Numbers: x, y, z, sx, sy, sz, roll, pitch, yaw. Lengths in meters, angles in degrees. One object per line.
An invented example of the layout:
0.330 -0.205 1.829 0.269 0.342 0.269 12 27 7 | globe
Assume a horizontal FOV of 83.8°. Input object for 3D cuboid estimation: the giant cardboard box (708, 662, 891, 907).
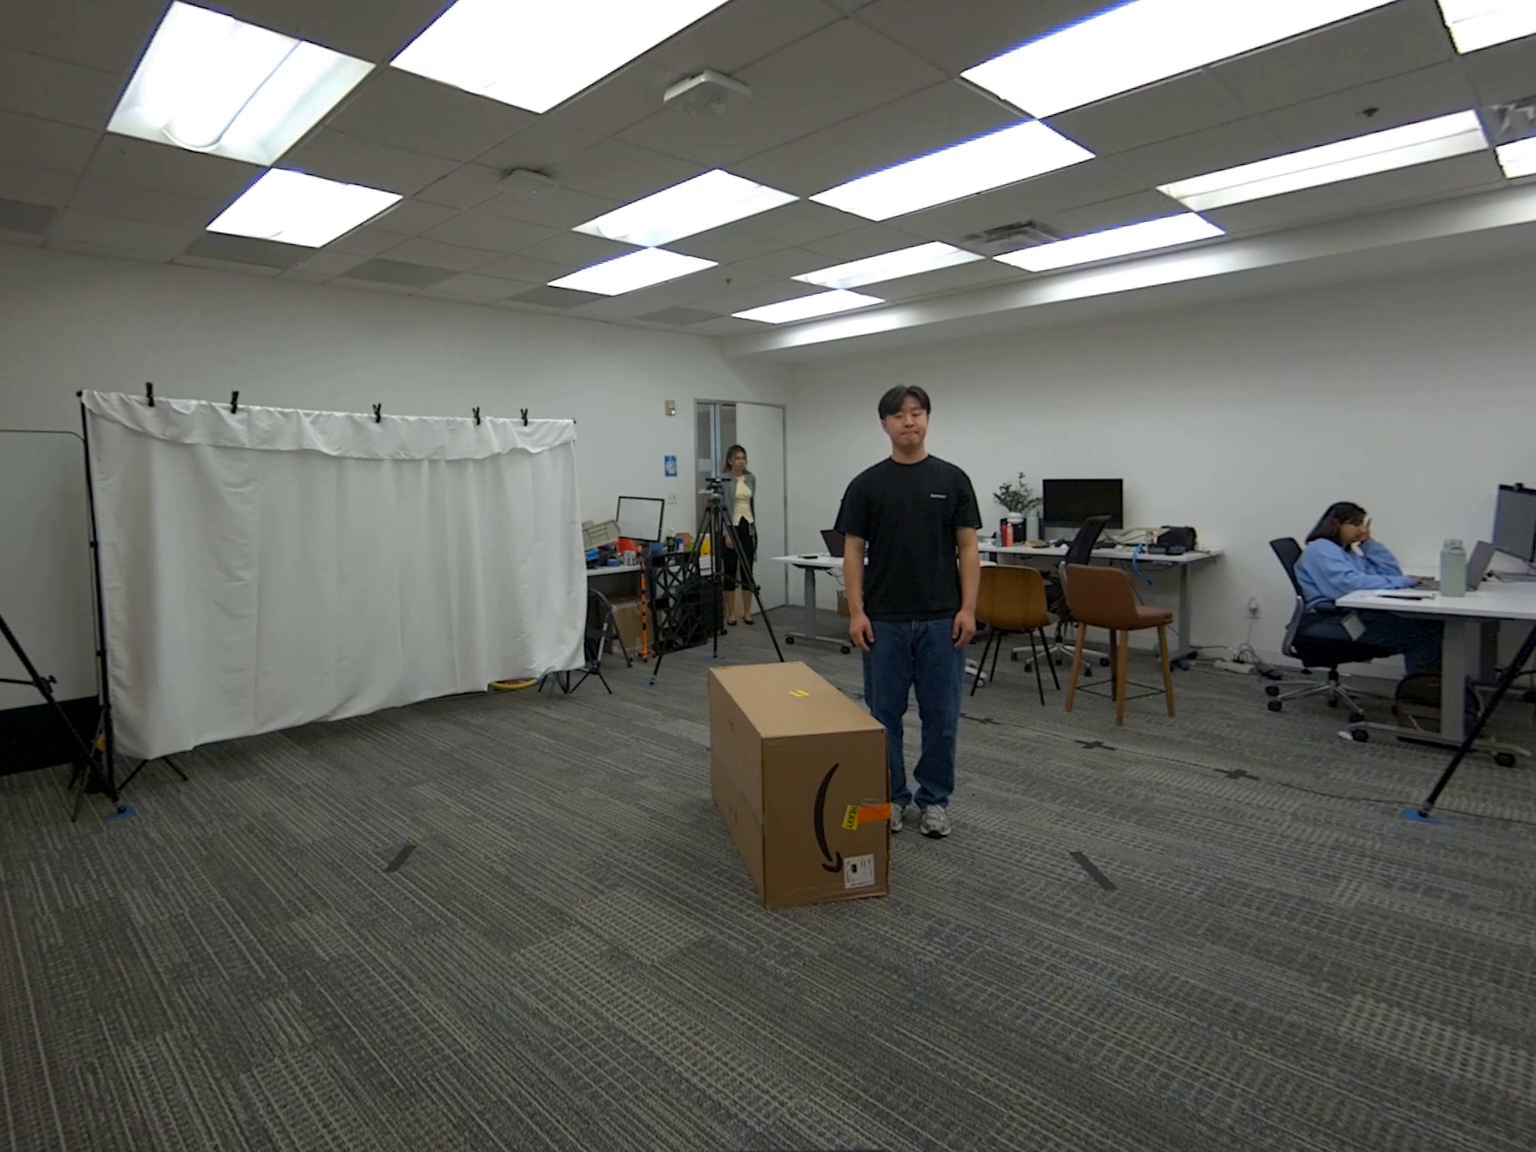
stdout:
0.075 0.729 3.281 0.441 0.581 1.044 -1 6 -14 | giant cardboard box
